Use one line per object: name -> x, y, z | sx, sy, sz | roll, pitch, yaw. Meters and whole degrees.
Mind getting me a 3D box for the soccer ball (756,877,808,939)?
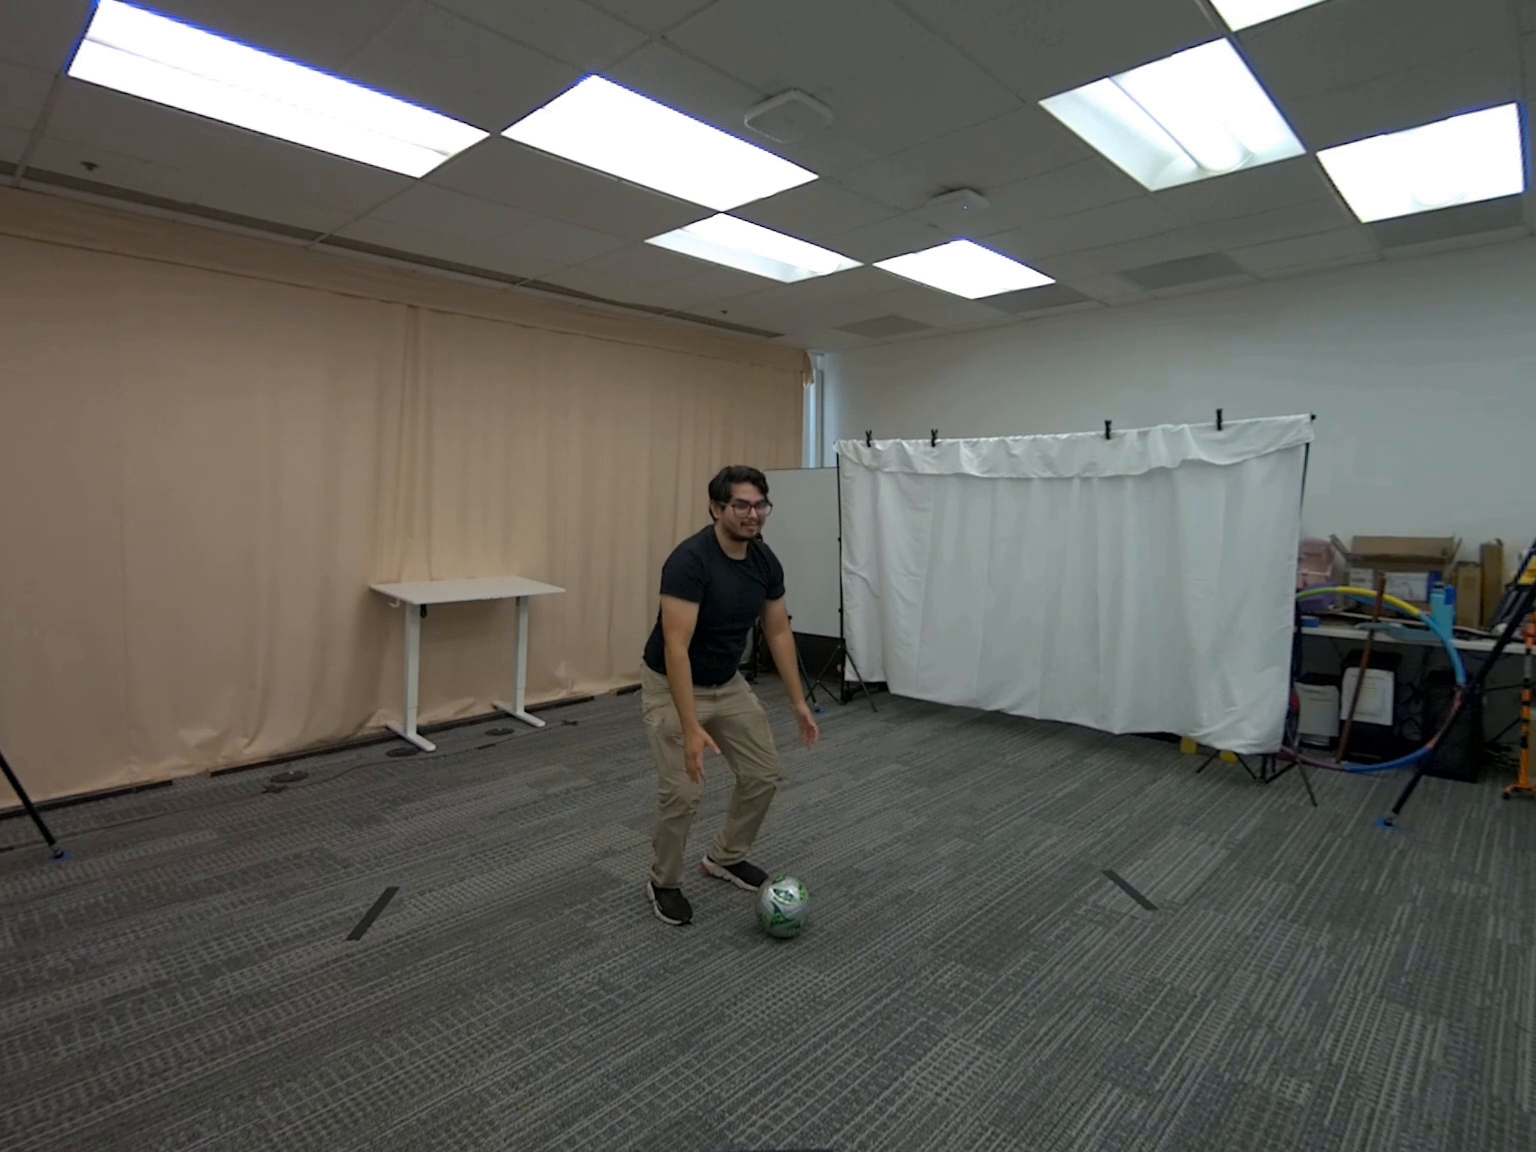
soccer ball -> 0.051, 1.071, 2.735 | 0.187, 0.187, 0.188 | 0, 4, -2
